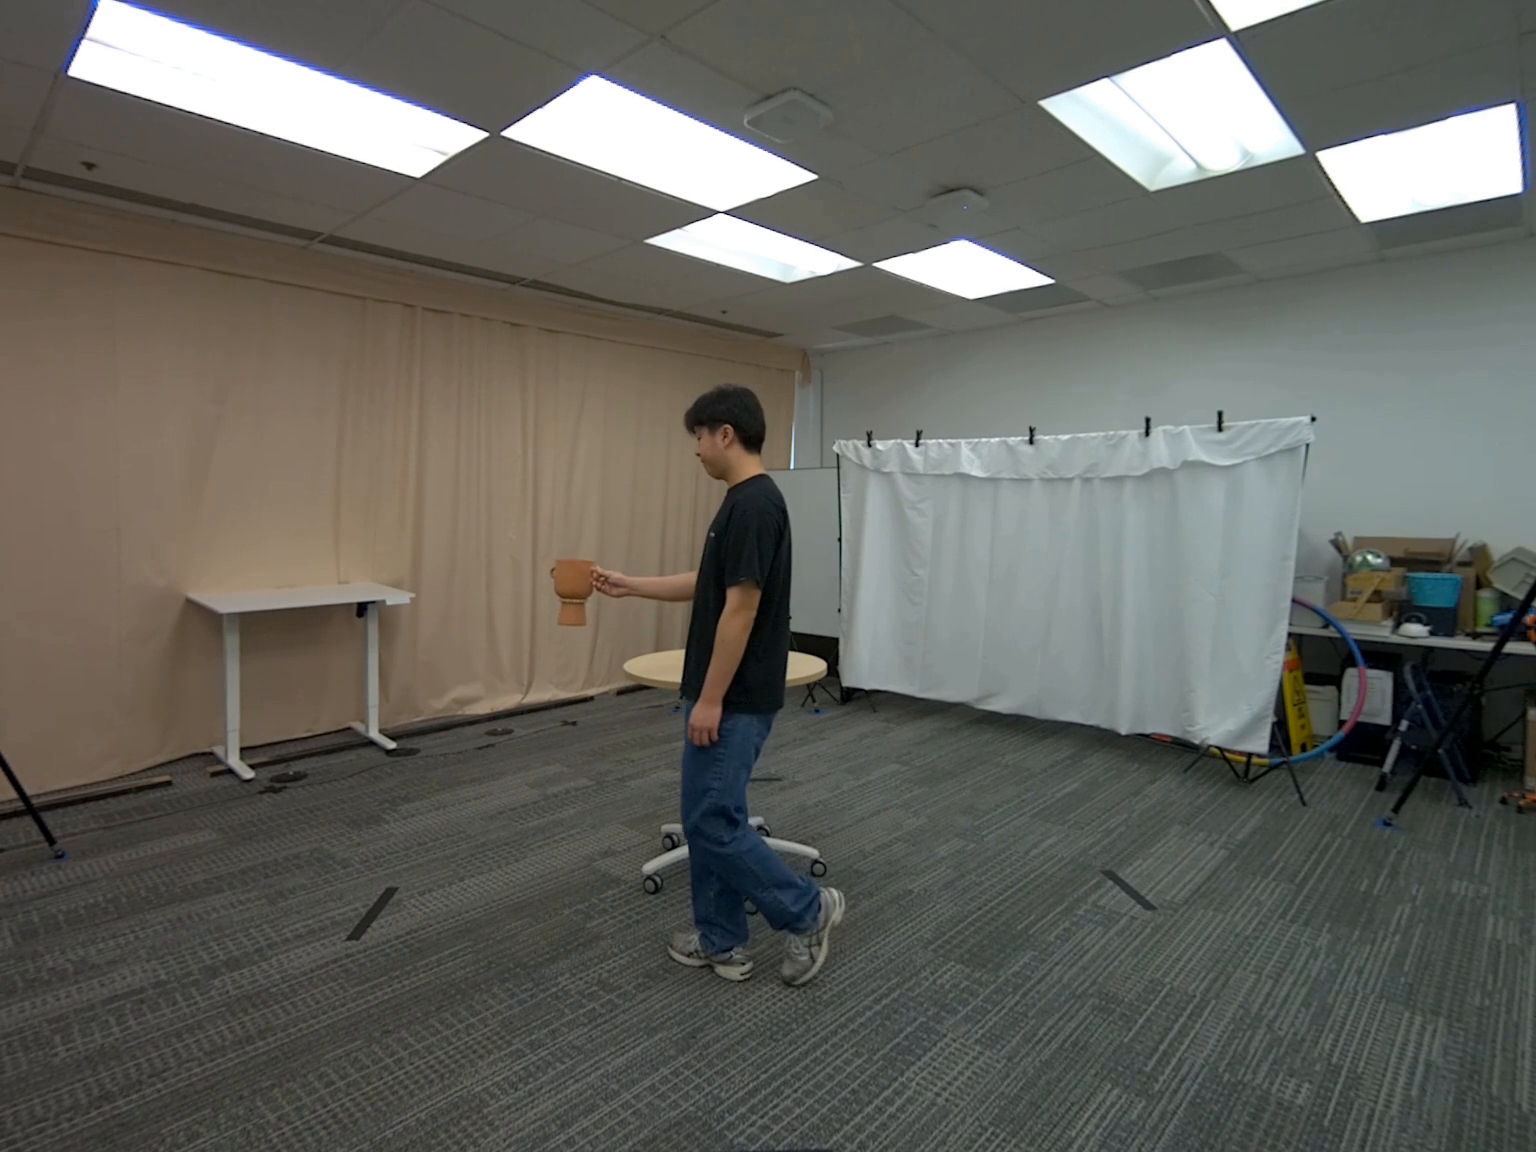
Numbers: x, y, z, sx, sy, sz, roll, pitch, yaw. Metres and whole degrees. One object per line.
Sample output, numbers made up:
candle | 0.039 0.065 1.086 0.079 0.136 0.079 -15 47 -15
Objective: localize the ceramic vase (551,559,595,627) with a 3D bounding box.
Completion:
ceramic vase | -0.654 0.054 2.837 0.131 0.220 0.163 0 1 -25
